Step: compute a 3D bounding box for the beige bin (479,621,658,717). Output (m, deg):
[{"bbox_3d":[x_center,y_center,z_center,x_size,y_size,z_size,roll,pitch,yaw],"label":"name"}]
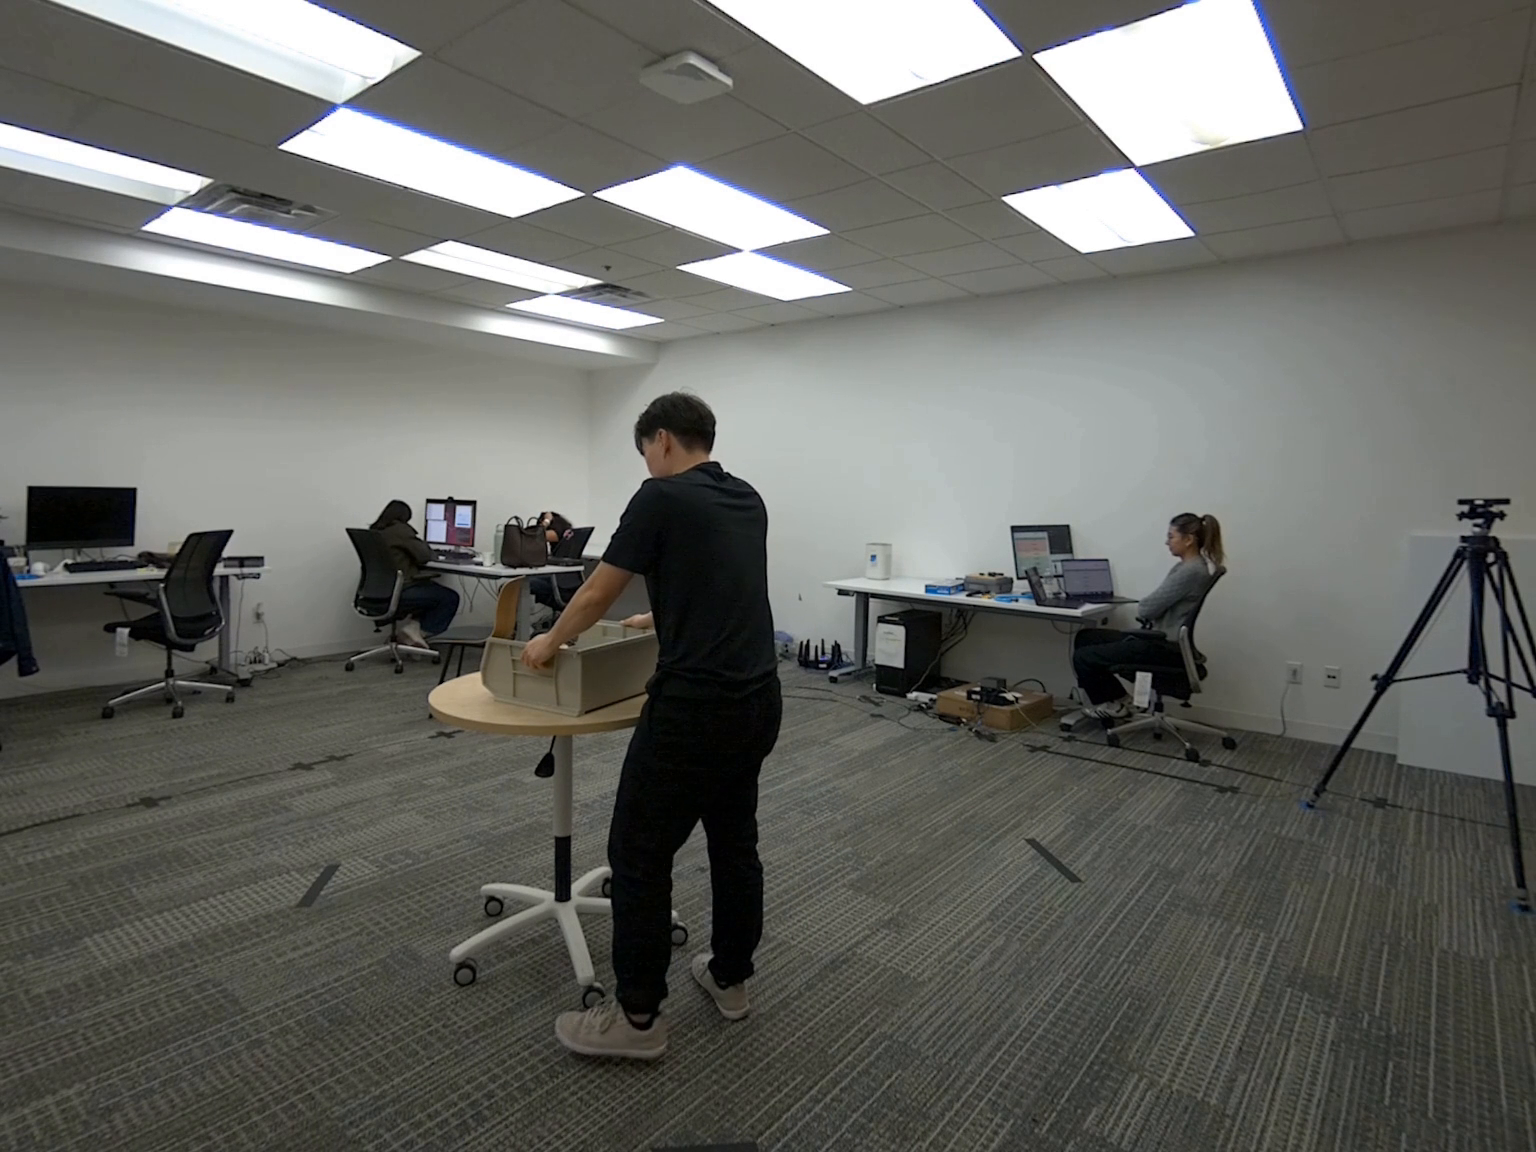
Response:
[{"bbox_3d":[-0.562,0.254,2.496,0.389,0.188,0.412,5,6,30],"label":"beige bin"}]
